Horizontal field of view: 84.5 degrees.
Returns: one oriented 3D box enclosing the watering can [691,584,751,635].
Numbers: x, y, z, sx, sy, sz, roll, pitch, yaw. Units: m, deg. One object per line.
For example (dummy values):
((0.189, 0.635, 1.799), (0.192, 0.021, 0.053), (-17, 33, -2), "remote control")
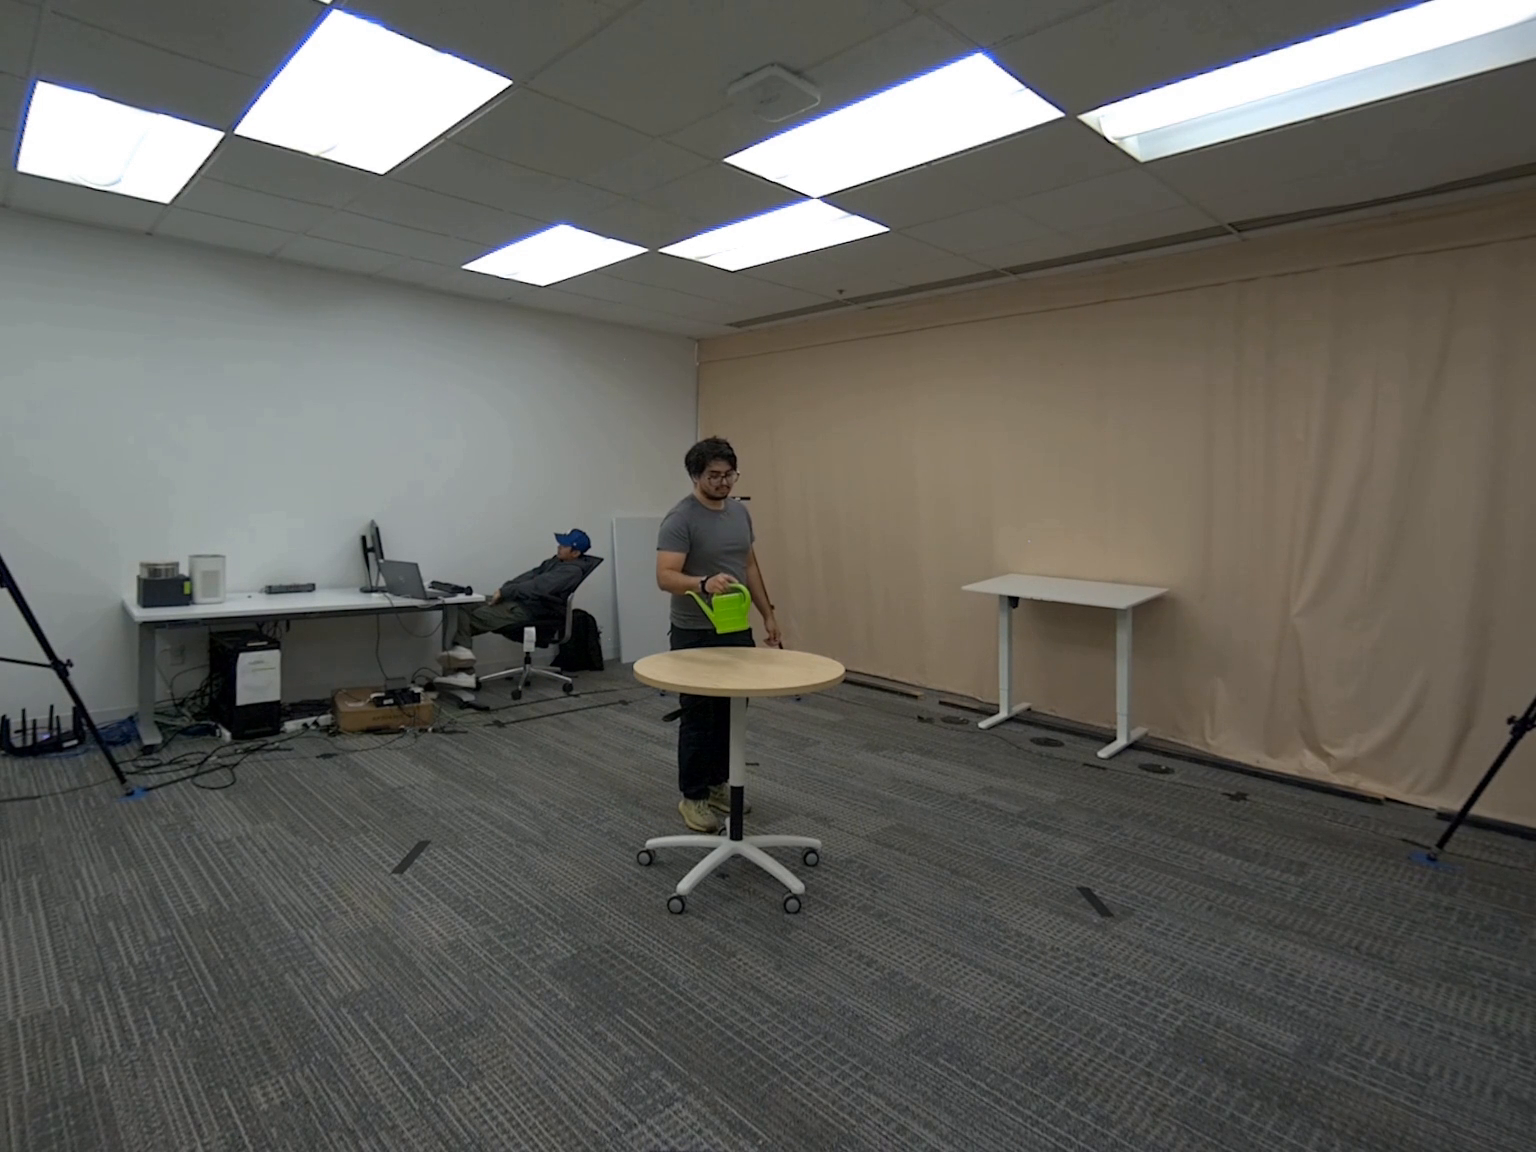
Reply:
((-0.183, 0.124, 3.167), (0.096, 0.177, 0.284), (-2, -4, -43), "watering can")
